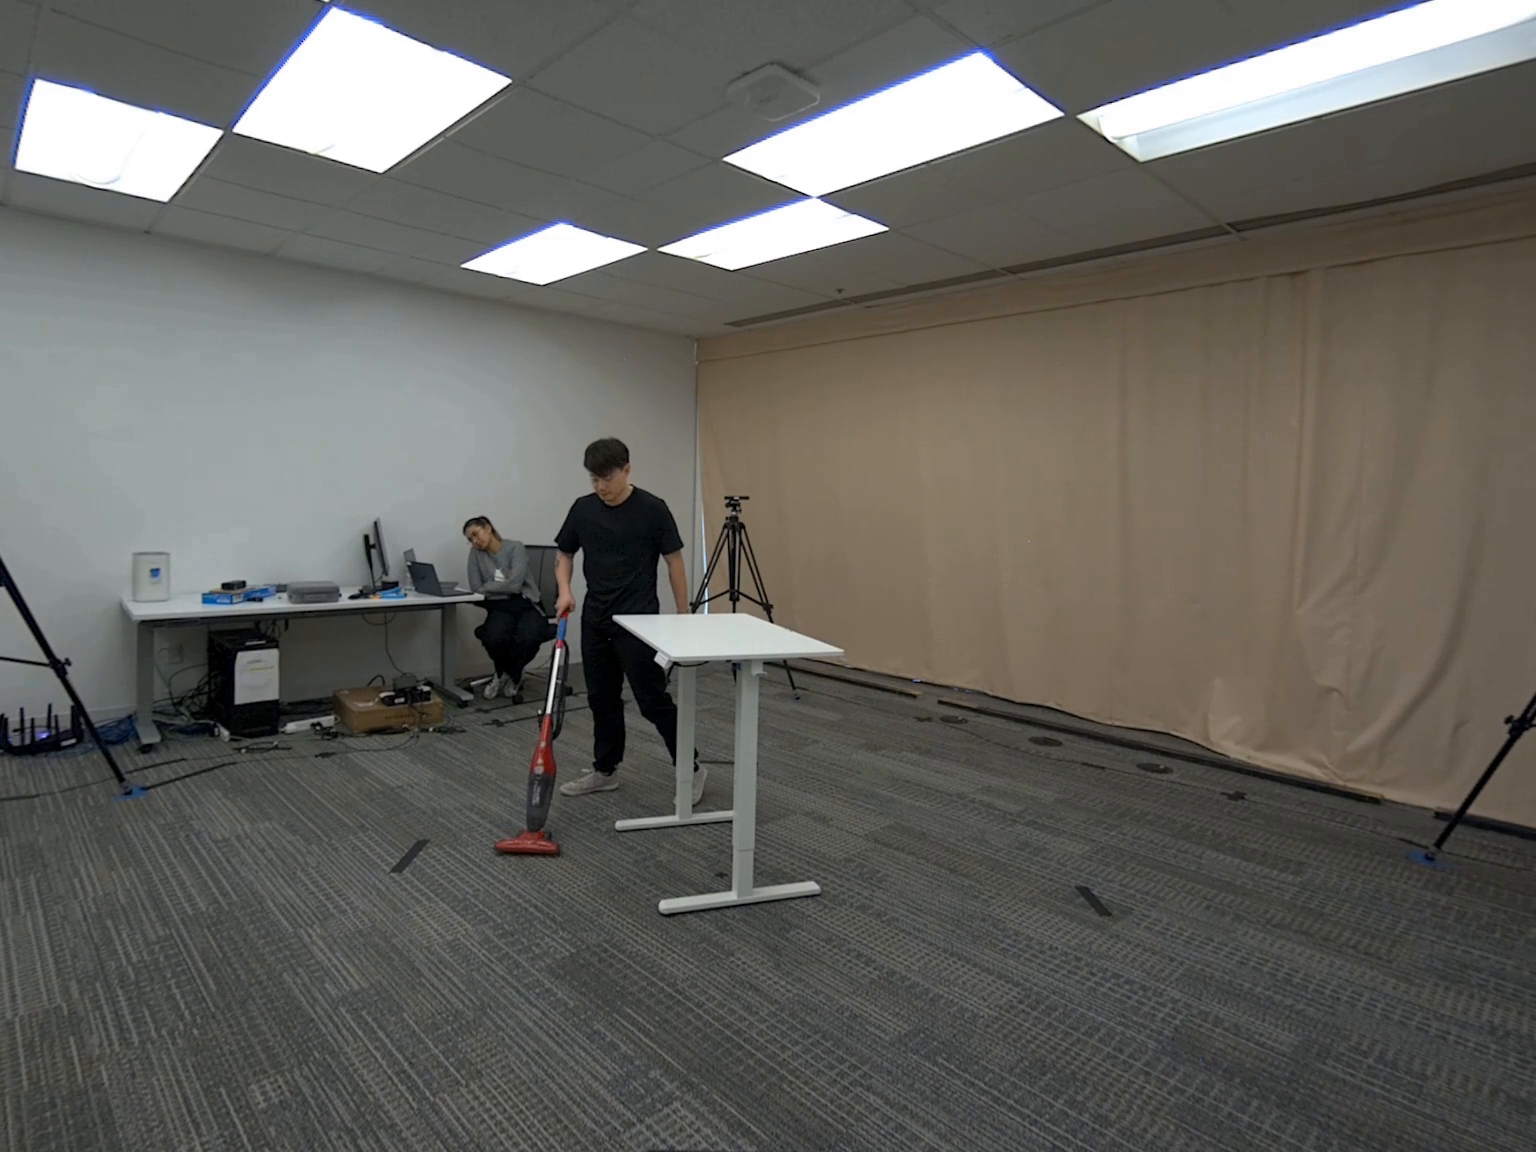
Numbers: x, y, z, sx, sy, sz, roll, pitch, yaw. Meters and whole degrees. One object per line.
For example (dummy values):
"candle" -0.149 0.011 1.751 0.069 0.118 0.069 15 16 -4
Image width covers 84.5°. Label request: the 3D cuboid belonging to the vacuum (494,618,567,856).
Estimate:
"vacuum" -0.929 0.601 3.546 0.253 1.068 0.141 0 -30 2
